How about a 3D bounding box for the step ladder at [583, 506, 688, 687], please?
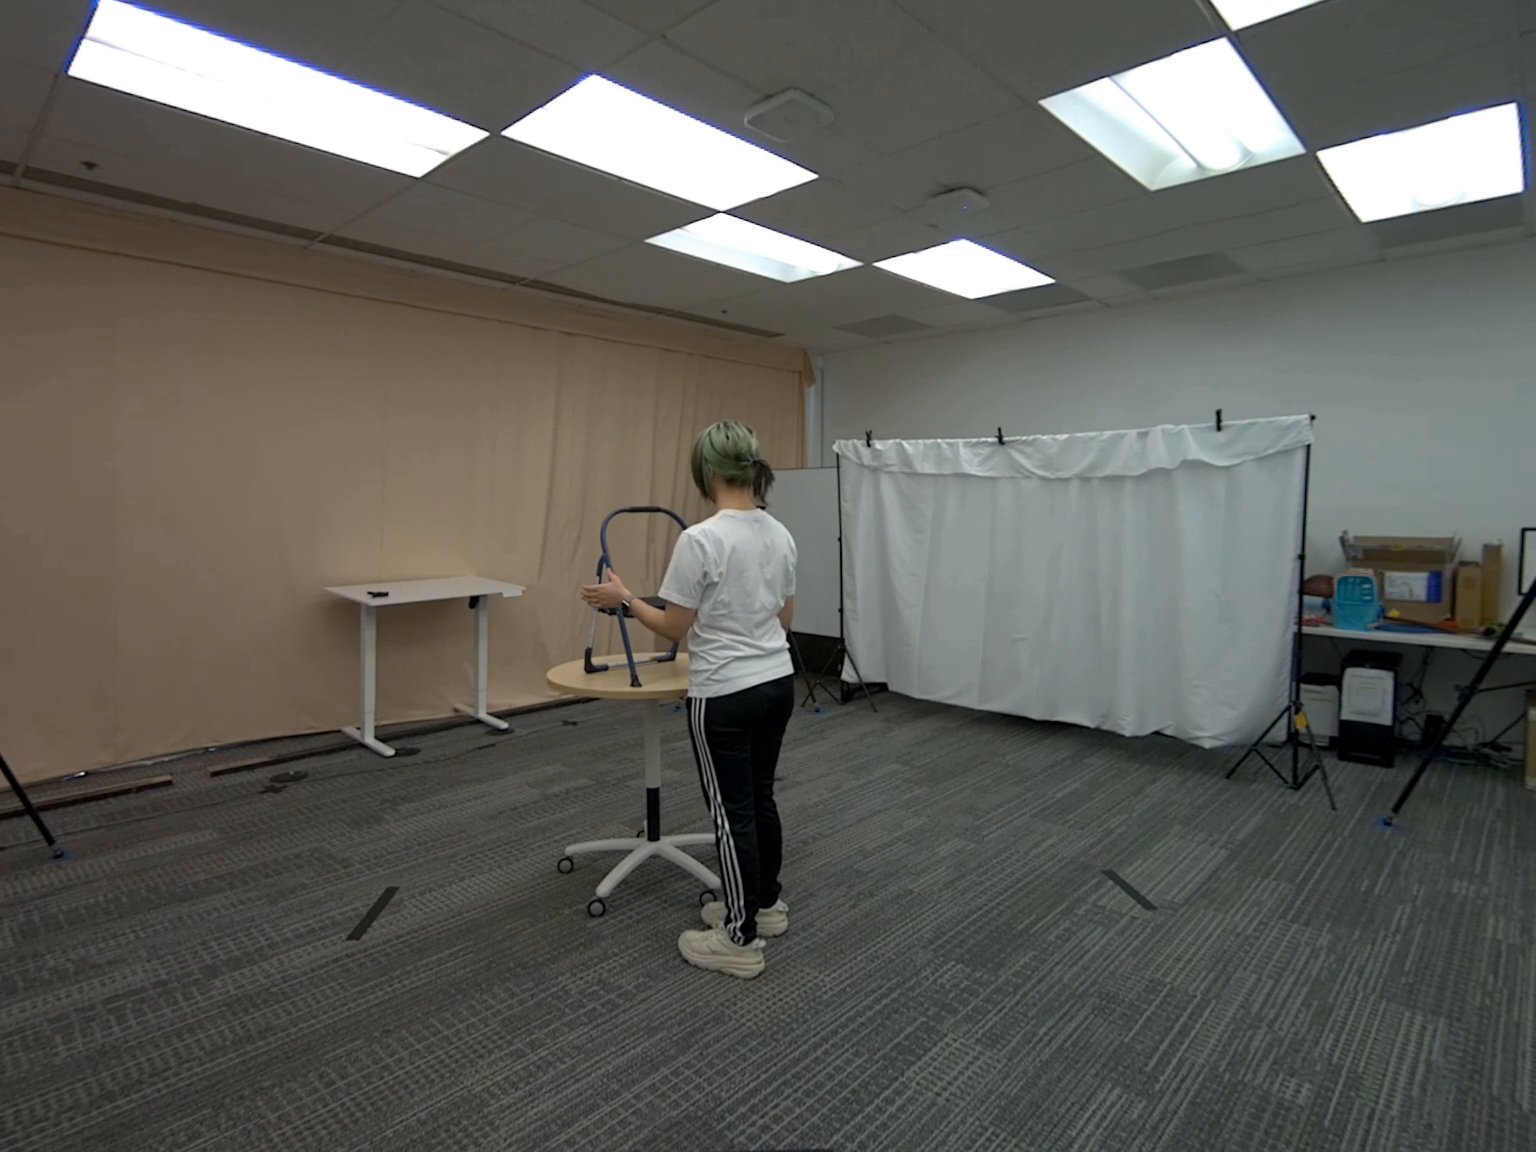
[{"bbox_3d":[-0.416,0.051,3.074,0.417,0.605,0.361,-3,4,-42],"label":"step ladder"}]
